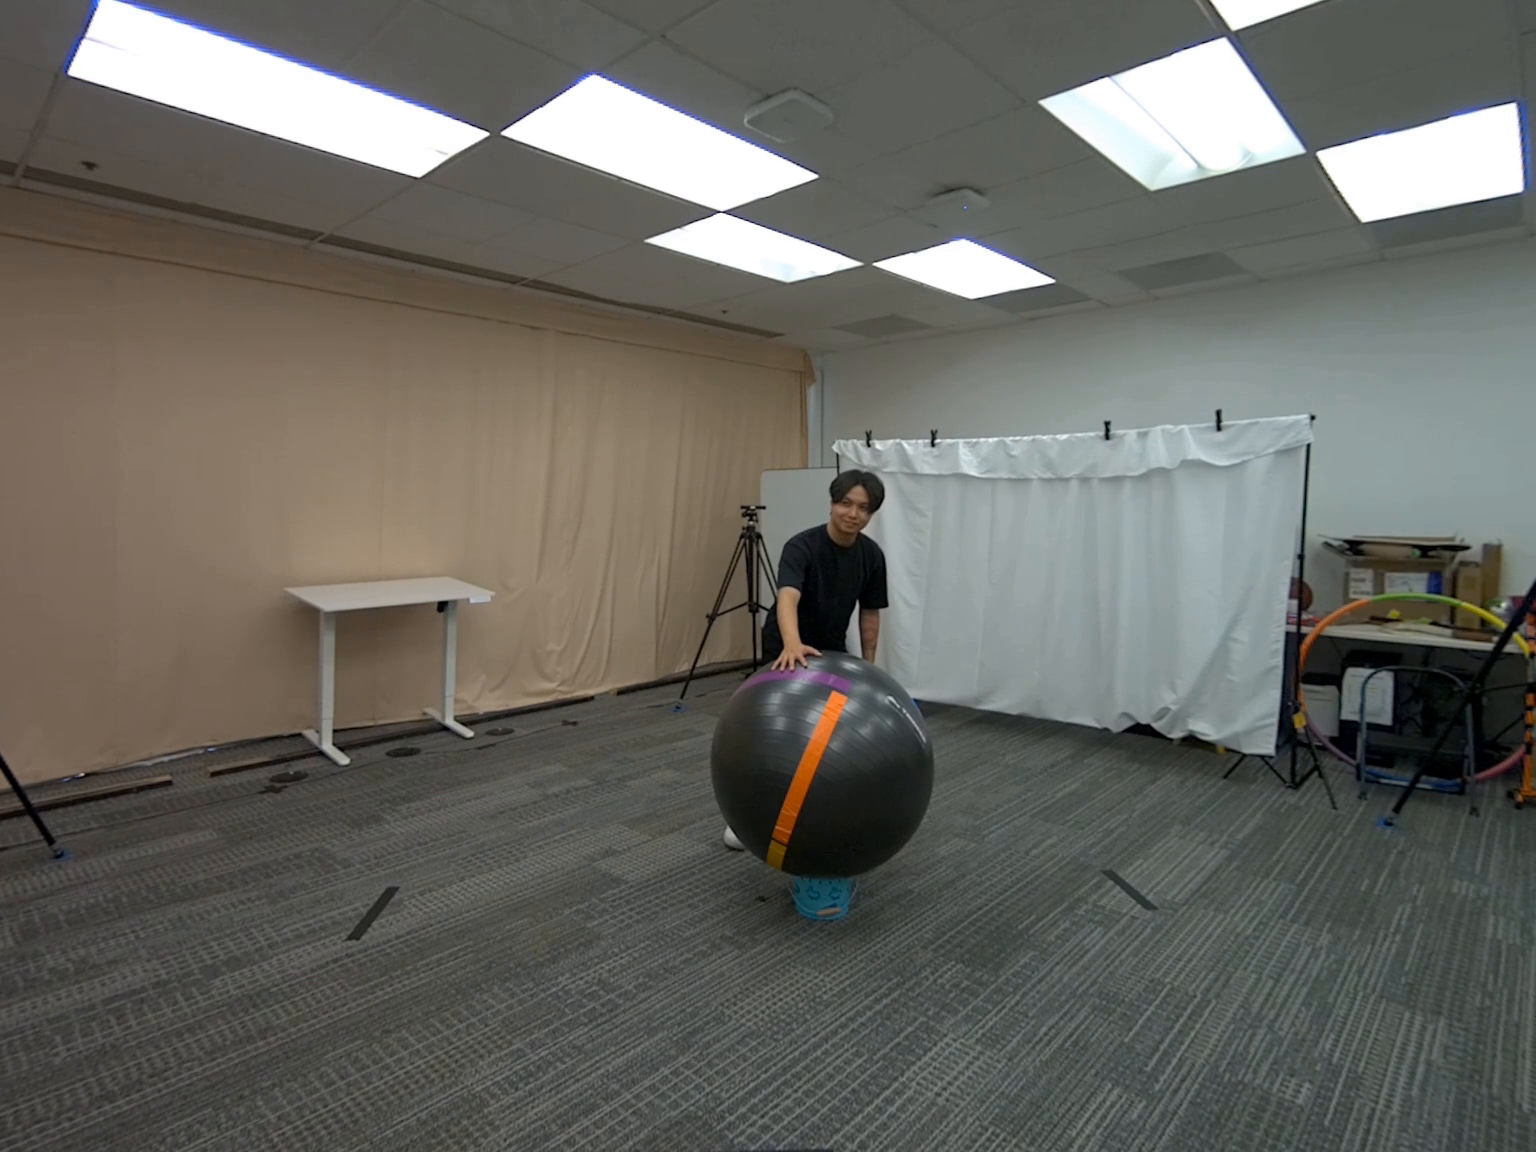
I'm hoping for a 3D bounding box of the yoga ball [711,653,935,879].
[{"bbox_3d":[0.185,0.642,2.887,0.757,0.756,0.760,0,4,-2],"label":"yoga ball"}]
